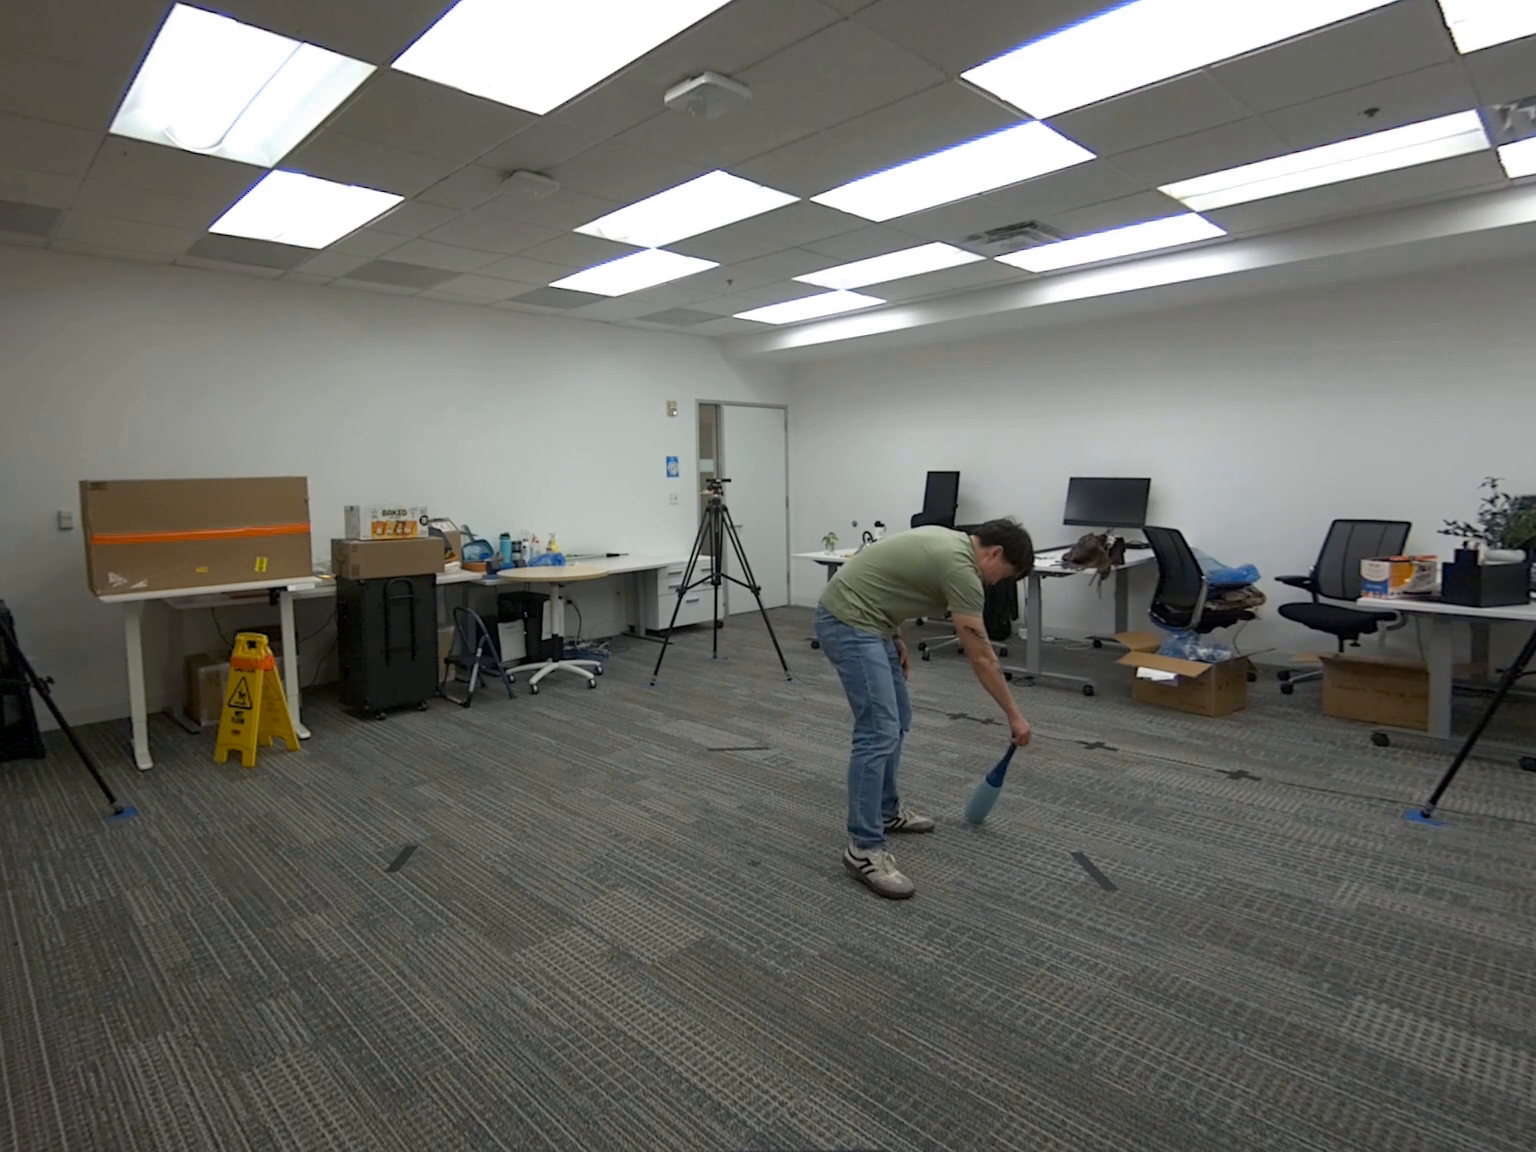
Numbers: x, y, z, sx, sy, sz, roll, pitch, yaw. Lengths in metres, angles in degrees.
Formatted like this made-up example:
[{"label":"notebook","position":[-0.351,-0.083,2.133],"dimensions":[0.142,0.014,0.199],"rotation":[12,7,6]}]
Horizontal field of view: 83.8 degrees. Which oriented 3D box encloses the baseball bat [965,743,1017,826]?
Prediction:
[{"label":"baseball bat","position":[0.870,0.774,3.286],"dimensions":[0.088,0.532,0.091],"rotation":[6,42,-7]}]
